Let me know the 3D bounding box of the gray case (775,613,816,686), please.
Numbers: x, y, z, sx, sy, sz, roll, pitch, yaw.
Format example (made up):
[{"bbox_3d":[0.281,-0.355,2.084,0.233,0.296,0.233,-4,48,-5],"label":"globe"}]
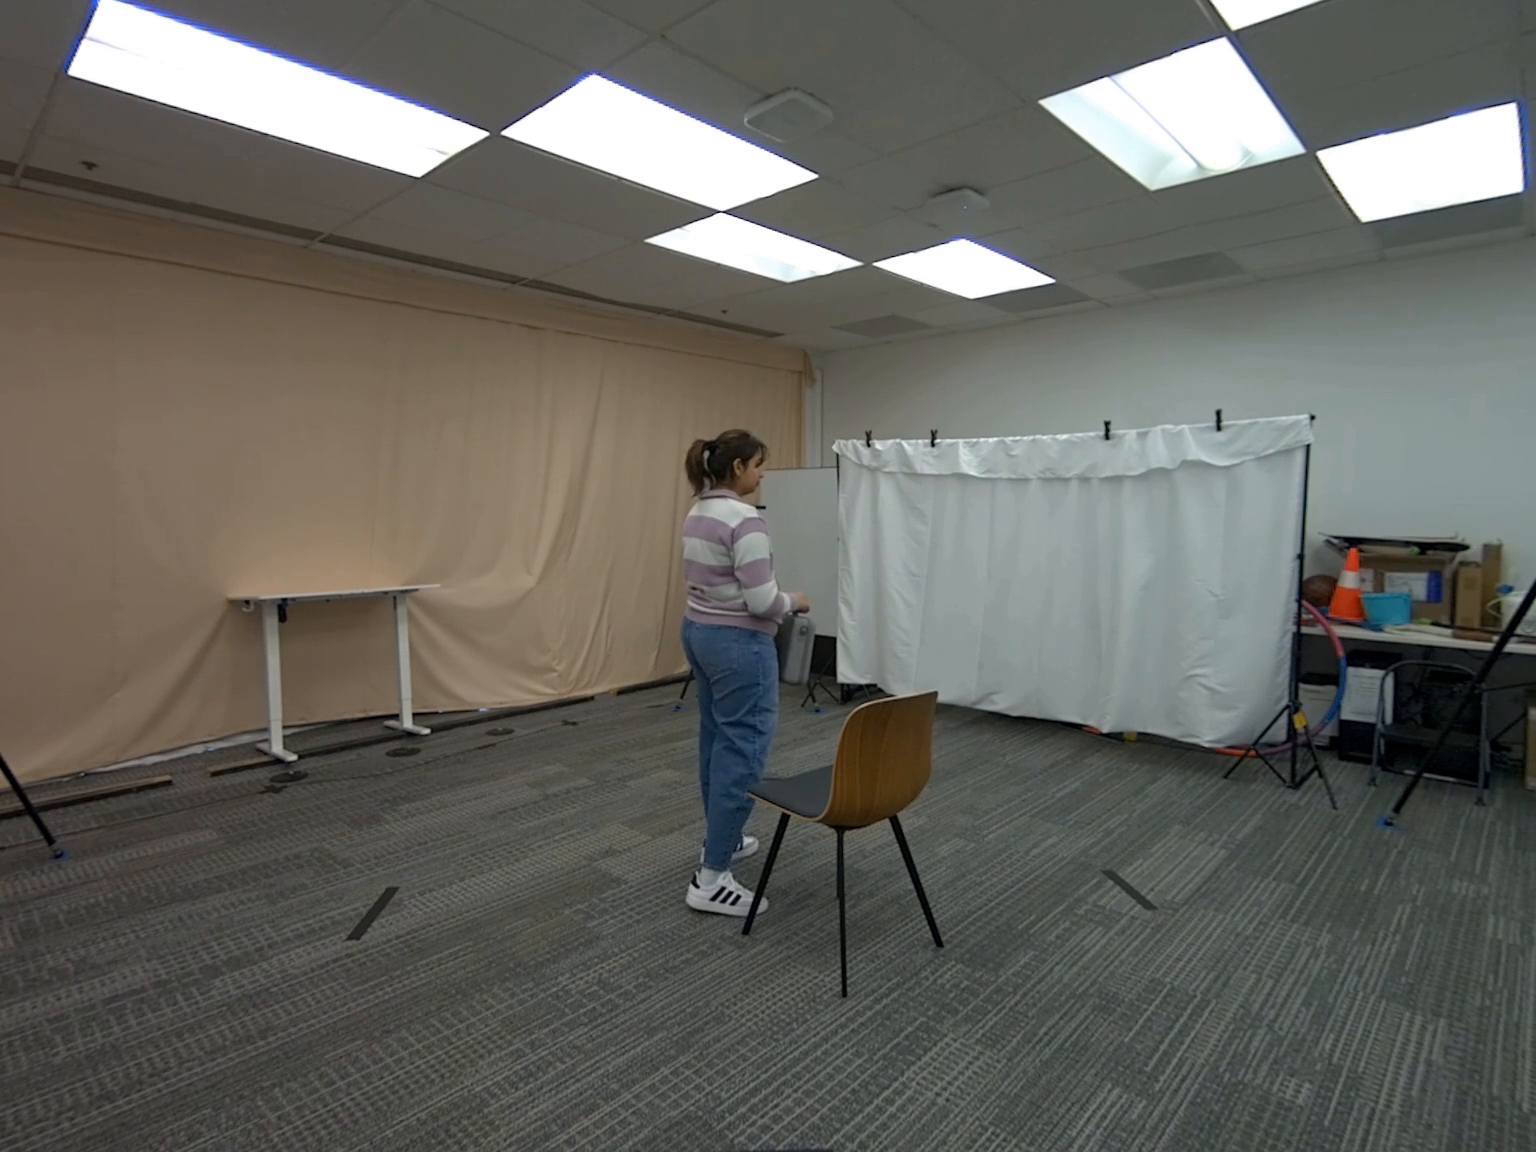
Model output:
[{"bbox_3d":[0.068,0.269,3.207,0.102,0.261,0.263,13,-5,-24],"label":"gray case"}]
